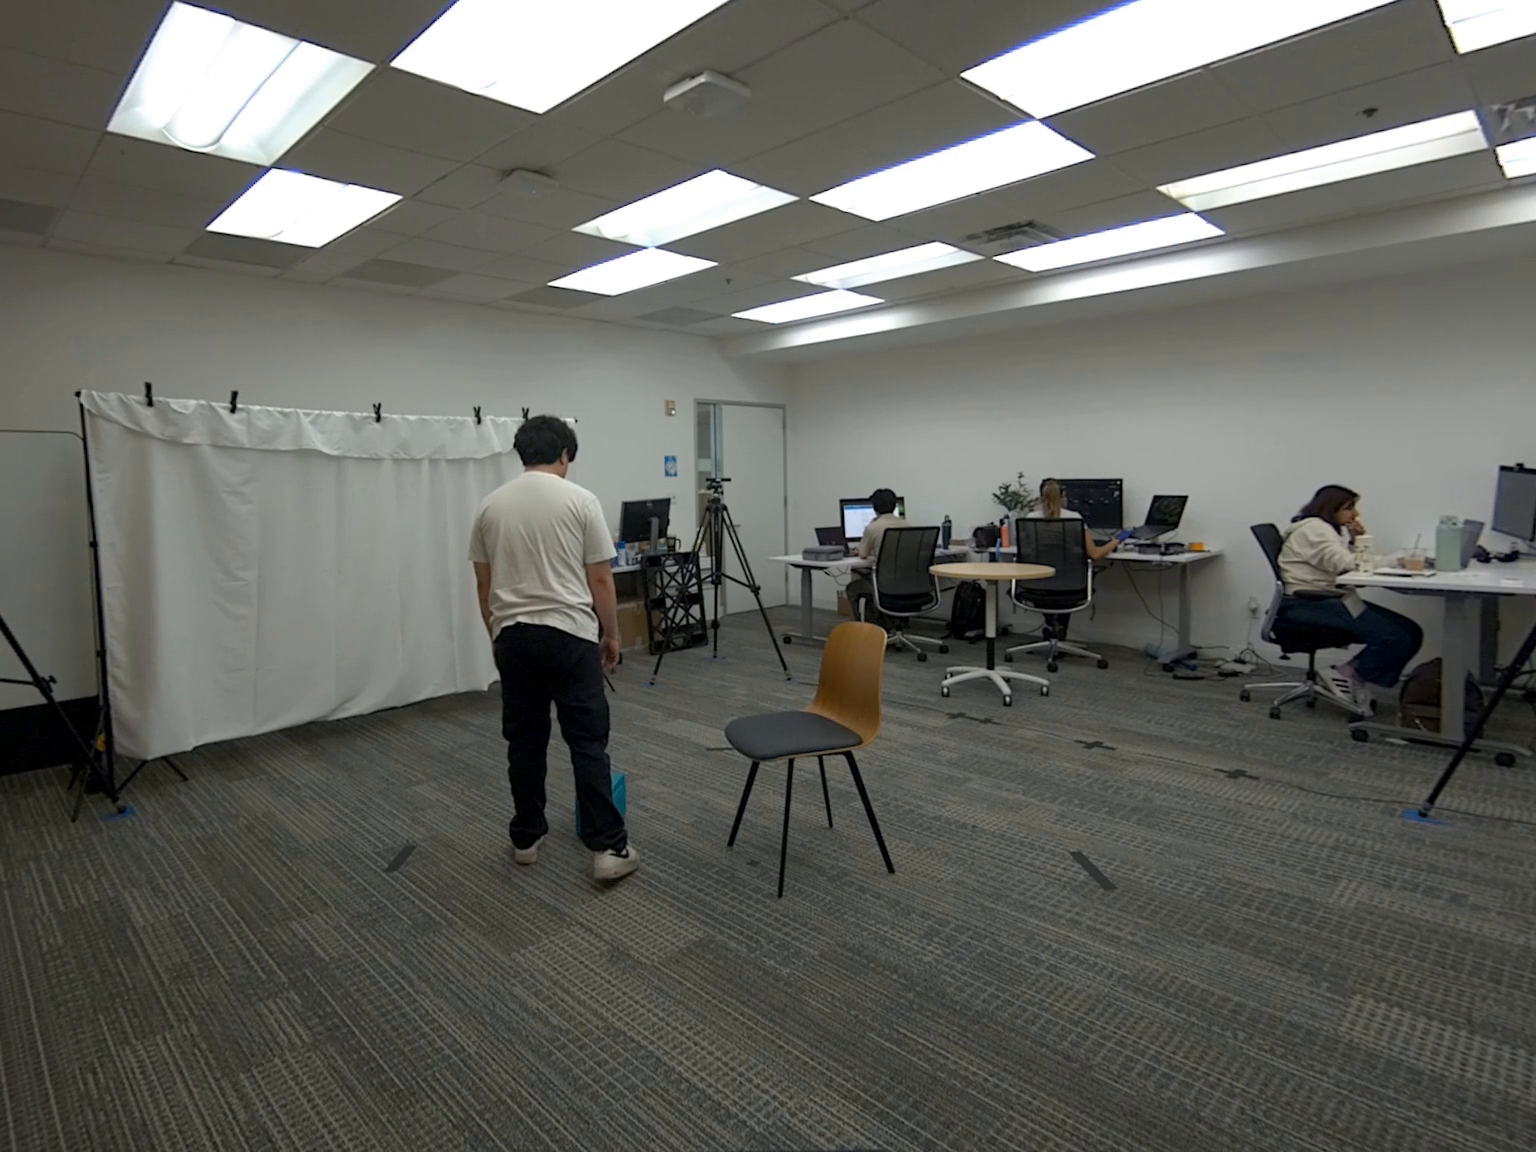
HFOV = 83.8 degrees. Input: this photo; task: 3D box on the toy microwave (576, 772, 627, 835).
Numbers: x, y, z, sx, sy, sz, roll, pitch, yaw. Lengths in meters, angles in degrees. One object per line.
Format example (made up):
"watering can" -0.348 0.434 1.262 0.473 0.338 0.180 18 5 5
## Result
"toy microwave" -0.678 0.924 3.455 0.153 0.183 0.285 2 6 7
